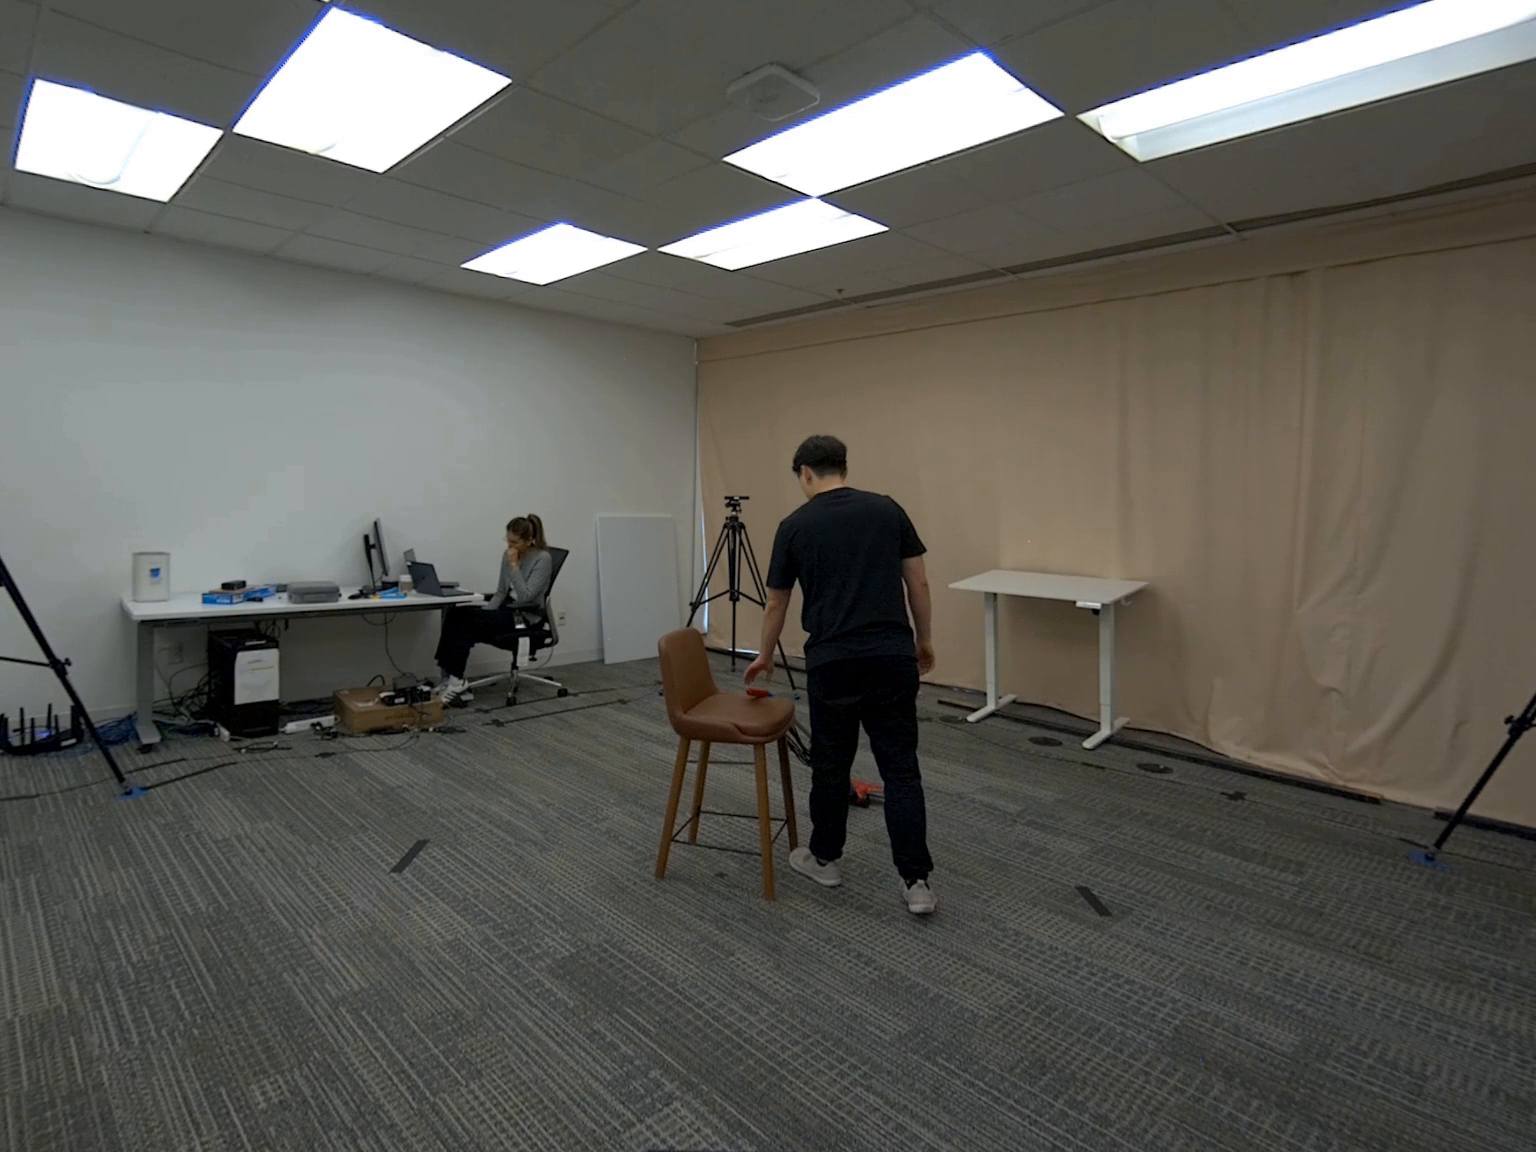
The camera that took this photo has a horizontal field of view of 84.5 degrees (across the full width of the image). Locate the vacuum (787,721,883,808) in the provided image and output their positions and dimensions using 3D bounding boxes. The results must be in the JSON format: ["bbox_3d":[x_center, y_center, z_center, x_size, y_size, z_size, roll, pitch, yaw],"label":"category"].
[{"bbox_3d":[0.173,0.744,3.594,0.258,0.145,1.016,0,-33,37],"label":"vacuum"}]
